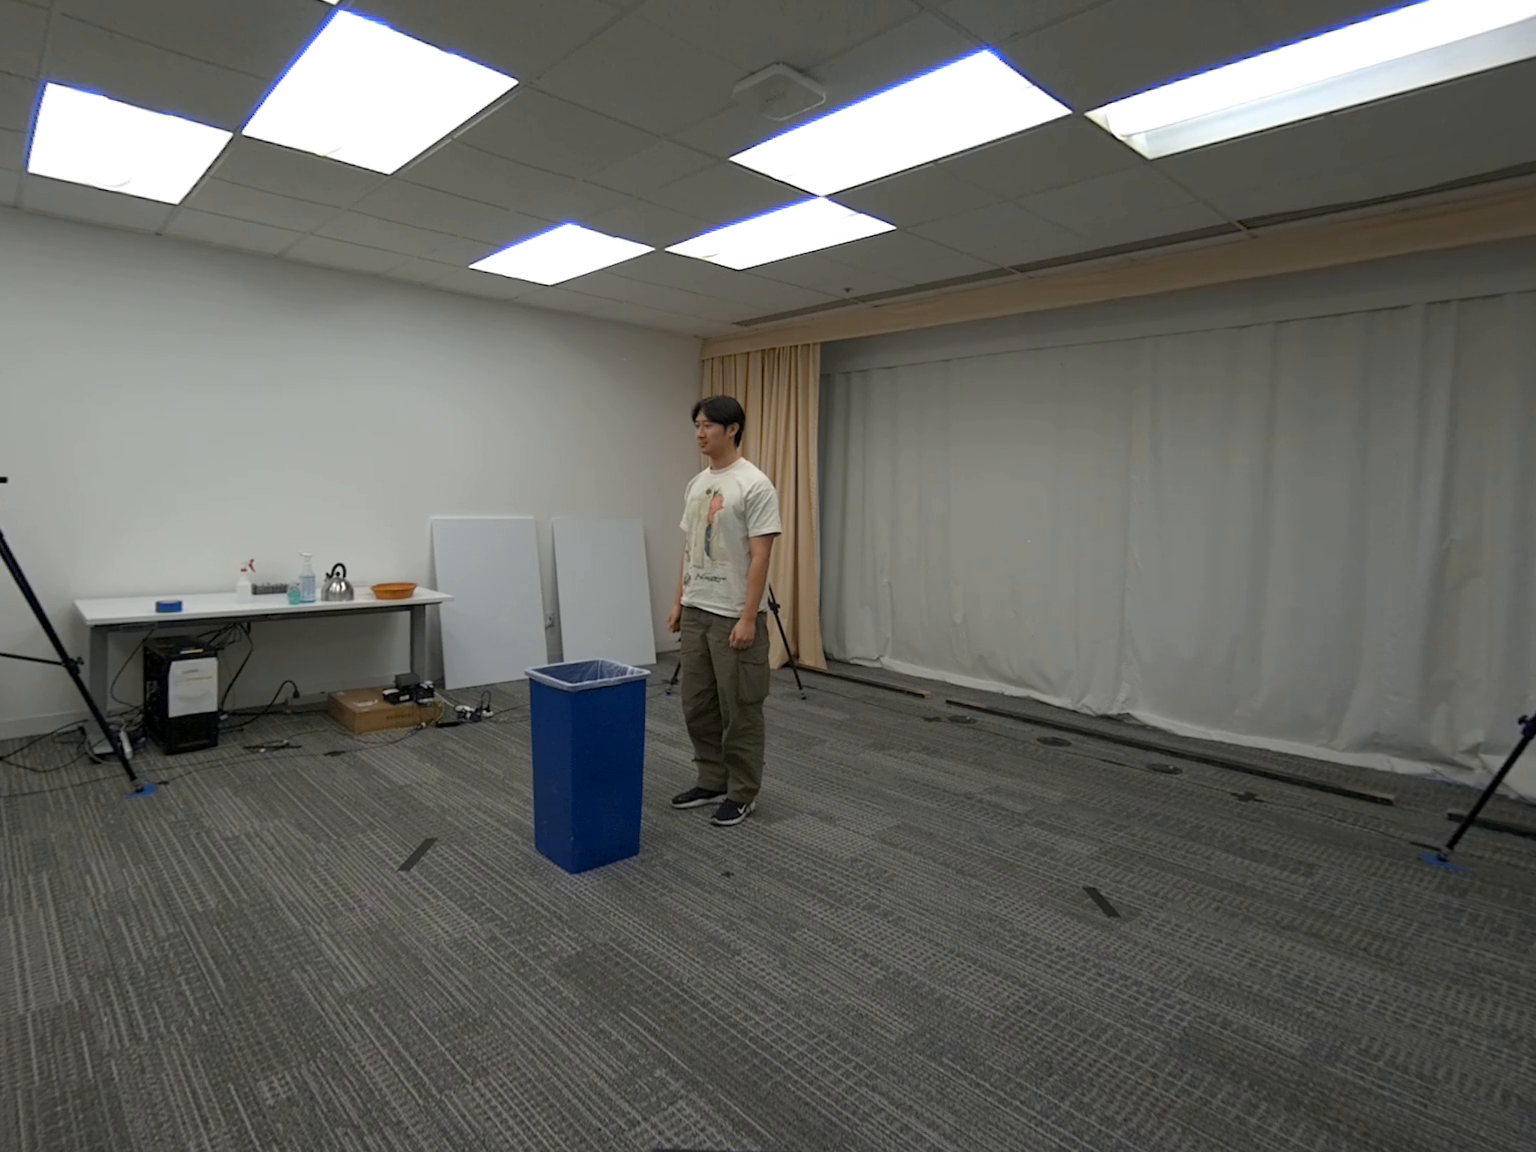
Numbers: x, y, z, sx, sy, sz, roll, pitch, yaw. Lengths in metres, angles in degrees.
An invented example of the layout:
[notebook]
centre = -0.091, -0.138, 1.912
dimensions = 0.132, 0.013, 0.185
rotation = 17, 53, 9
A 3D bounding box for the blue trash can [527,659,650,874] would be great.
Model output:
[blue trash can]
centre = -0.708, 0.719, 3.250
dimensions = 0.365, 0.712, 0.388
rotation = -2, 4, -43
